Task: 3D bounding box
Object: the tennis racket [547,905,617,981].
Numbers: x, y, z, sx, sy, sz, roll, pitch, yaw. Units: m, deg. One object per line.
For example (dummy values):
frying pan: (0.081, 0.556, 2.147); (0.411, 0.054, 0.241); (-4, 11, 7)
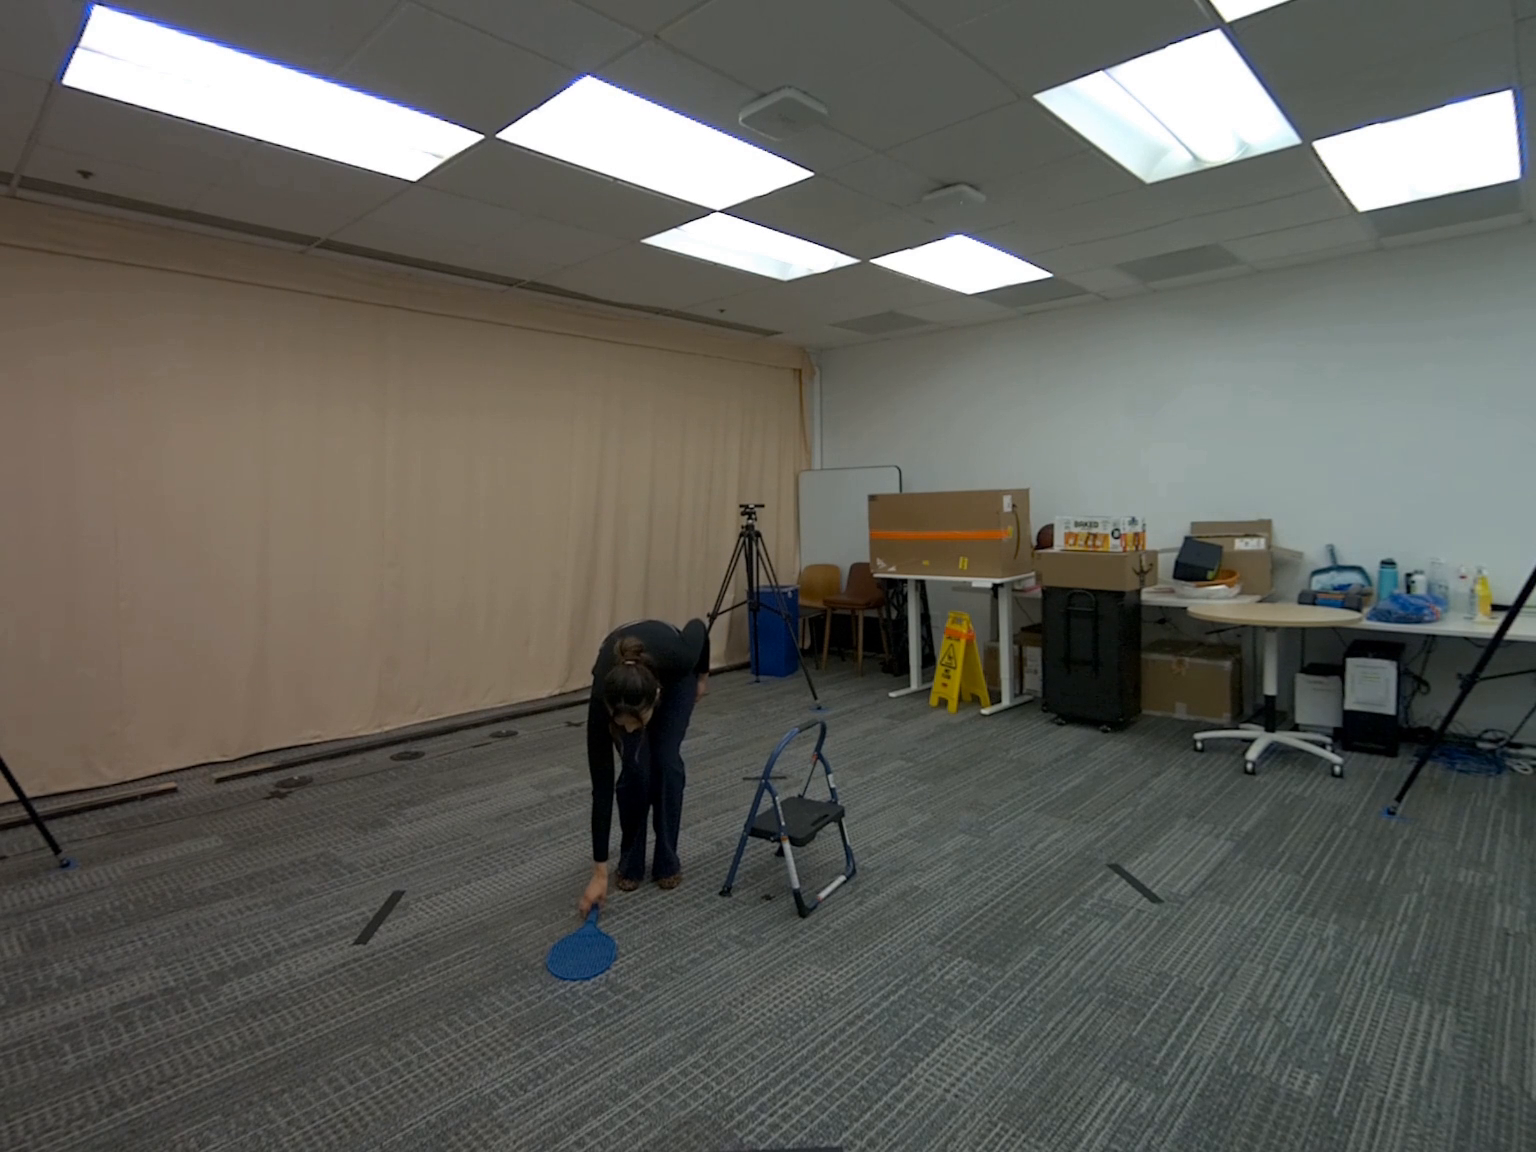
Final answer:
tennis racket: (-0.575, 1.157, 2.696); (0.214, 0.031, 0.434); (-1, 7, 0)
